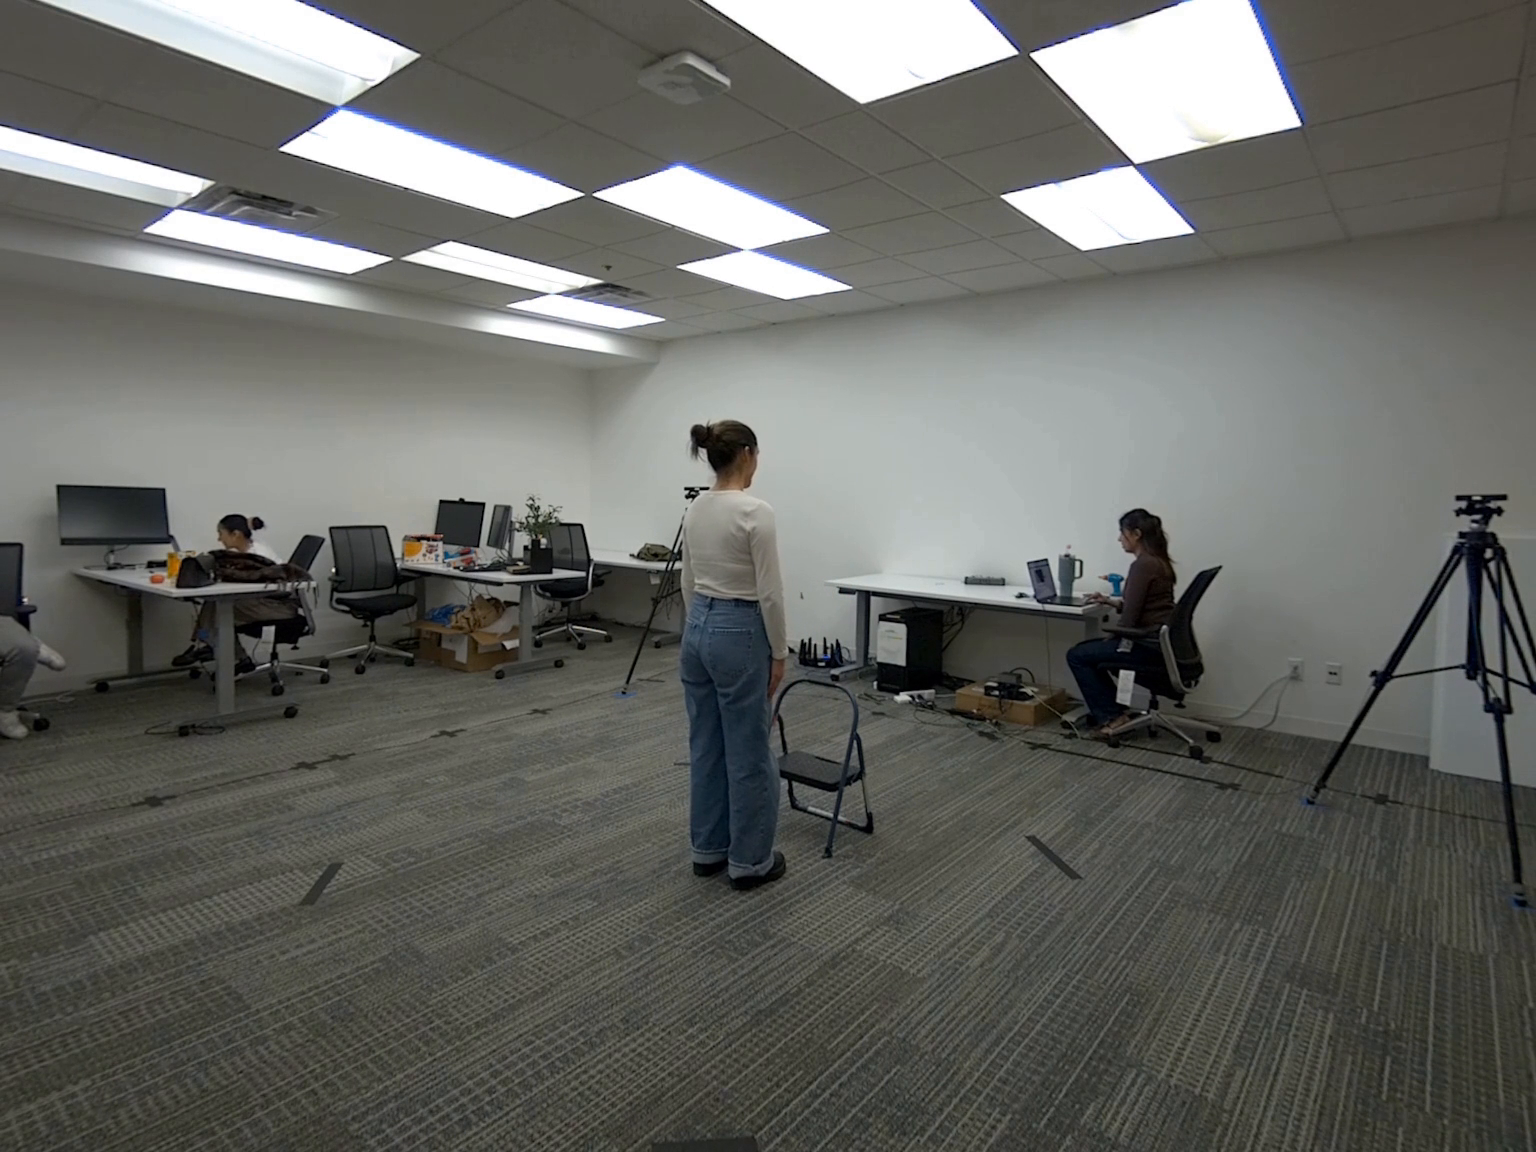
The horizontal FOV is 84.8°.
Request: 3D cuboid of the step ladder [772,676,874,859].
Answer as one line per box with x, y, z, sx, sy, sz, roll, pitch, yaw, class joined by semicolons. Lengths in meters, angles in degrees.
0.166;0.734;3.461;0.445;0.604;0.339;4;5;39;step ladder
